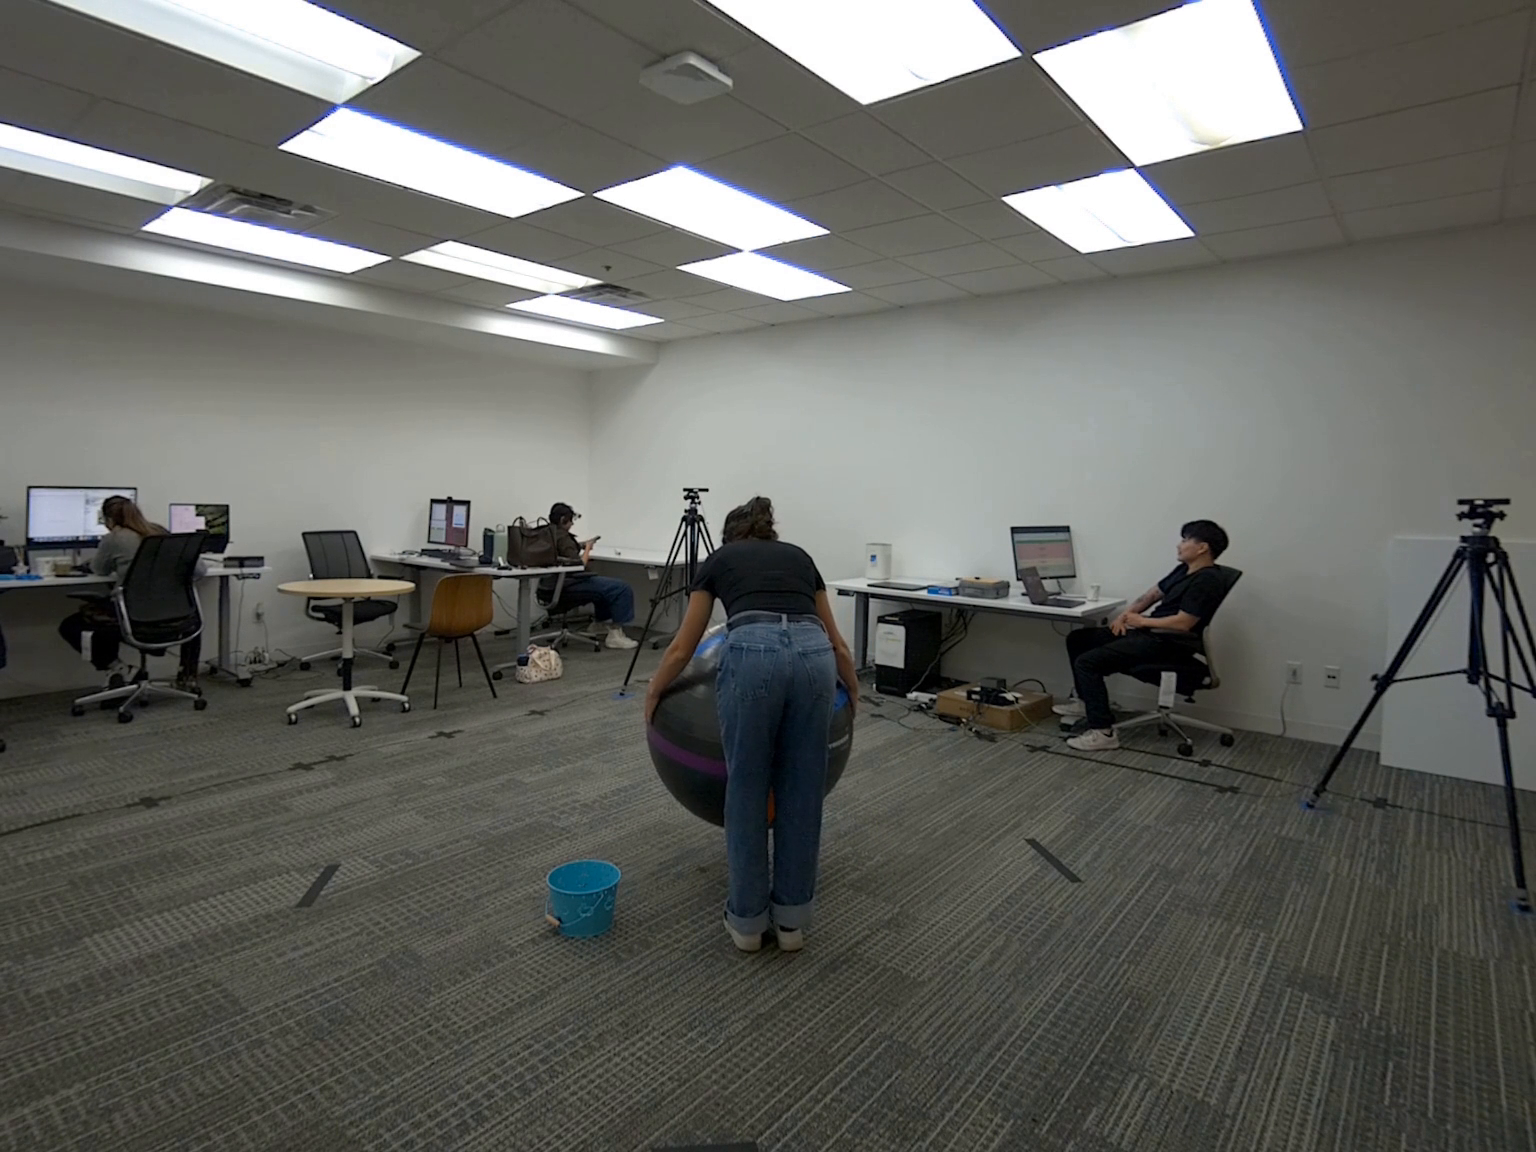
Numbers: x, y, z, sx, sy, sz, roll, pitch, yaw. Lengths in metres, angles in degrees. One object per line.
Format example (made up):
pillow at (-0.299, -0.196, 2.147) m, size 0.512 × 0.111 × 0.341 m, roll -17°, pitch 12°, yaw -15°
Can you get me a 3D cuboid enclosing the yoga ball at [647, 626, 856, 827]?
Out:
yoga ball at (-0.068, 0.533, 3.107) m, size 0.757 × 0.755 × 0.762 m, roll 1°, pitch 4°, yaw -2°
